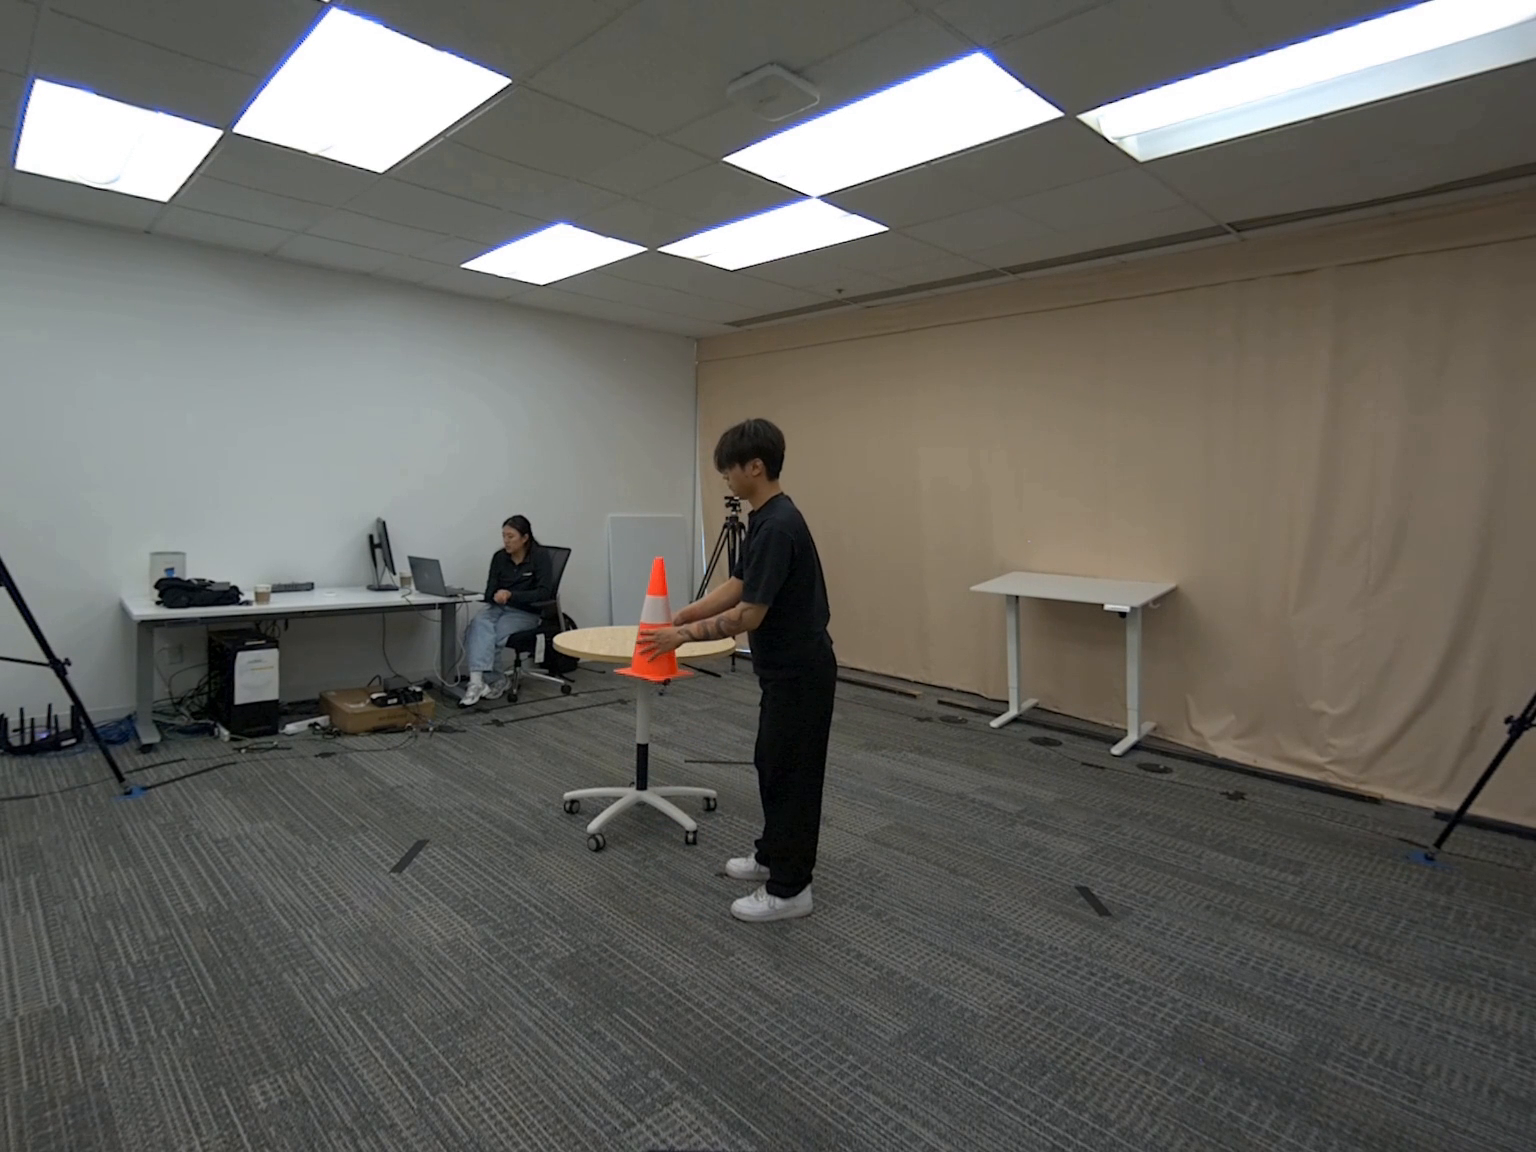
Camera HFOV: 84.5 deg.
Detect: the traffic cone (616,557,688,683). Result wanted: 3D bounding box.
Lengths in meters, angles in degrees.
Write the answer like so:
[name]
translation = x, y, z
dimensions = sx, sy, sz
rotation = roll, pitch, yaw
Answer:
[traffic cone]
translation = -0.376, 0.132, 2.792
dimensions = 0.210, 0.383, 0.198
rotation = 4, 2, 39
